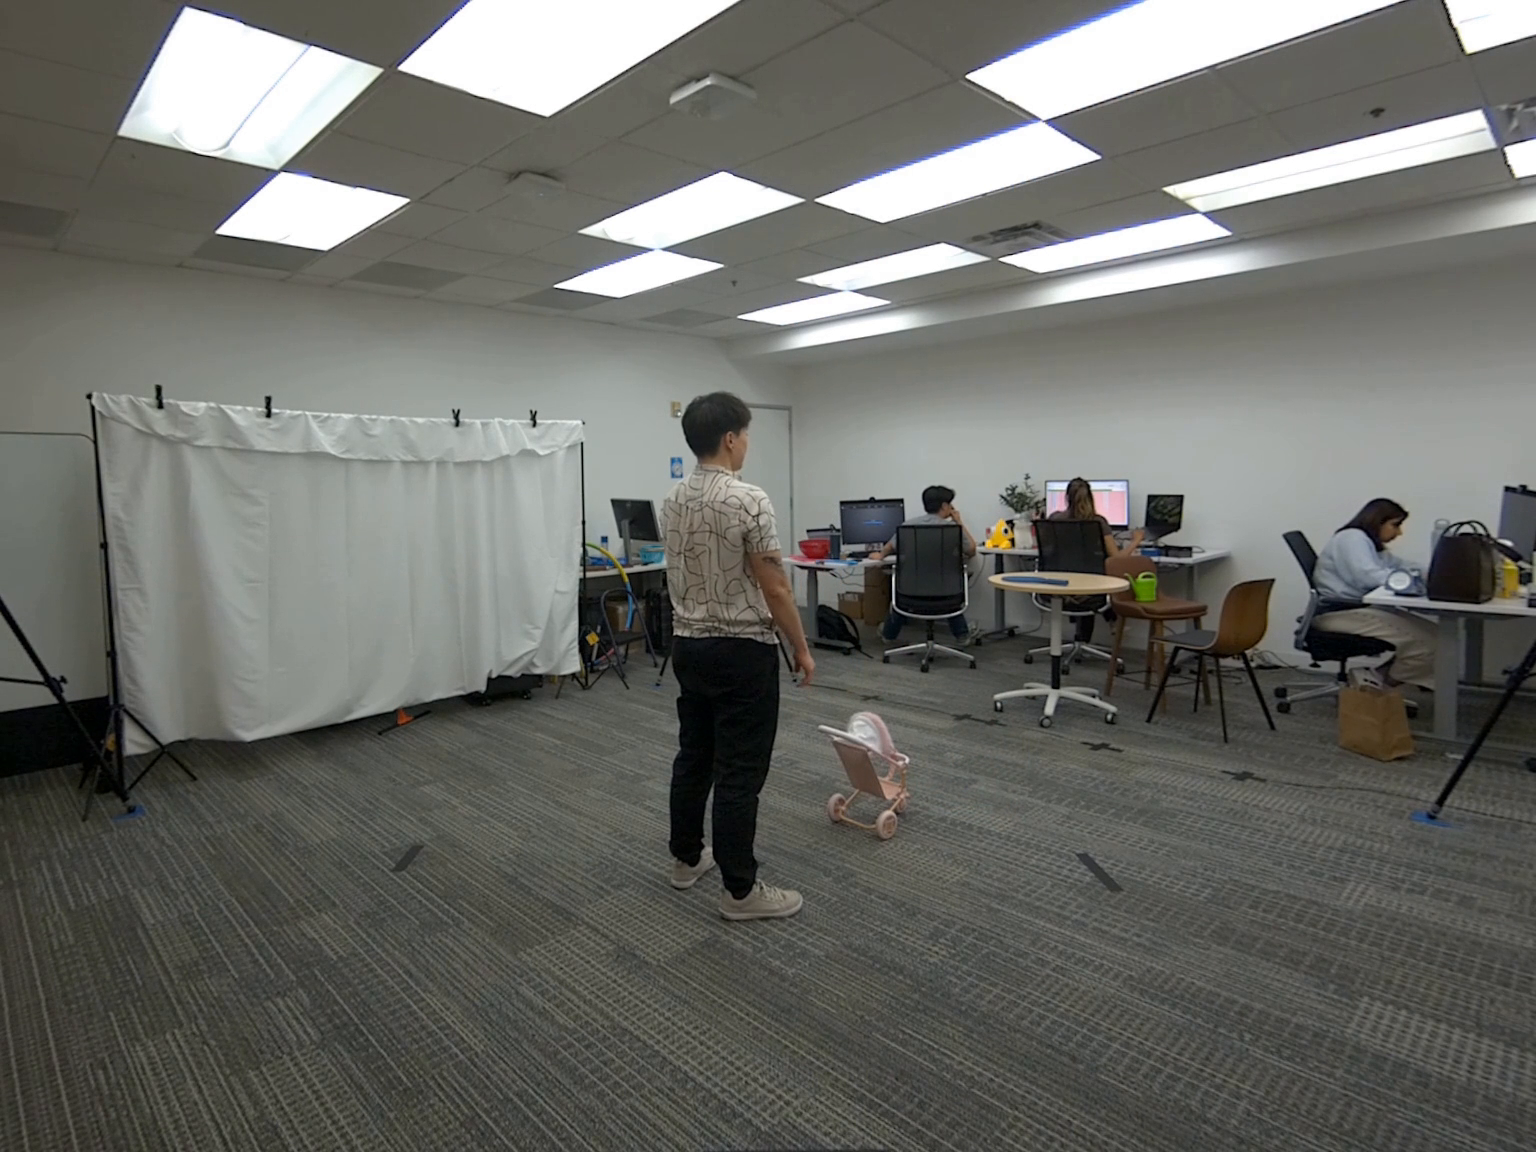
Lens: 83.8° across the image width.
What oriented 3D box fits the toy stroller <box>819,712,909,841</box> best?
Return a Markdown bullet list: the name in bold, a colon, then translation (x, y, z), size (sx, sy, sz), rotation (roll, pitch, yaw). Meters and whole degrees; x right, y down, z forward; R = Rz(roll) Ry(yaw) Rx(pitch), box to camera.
- **toy stroller**: translation (0.414, 0.777, 3.426), size (0.336, 0.527, 0.290), rotation (-24, 17, -36)
